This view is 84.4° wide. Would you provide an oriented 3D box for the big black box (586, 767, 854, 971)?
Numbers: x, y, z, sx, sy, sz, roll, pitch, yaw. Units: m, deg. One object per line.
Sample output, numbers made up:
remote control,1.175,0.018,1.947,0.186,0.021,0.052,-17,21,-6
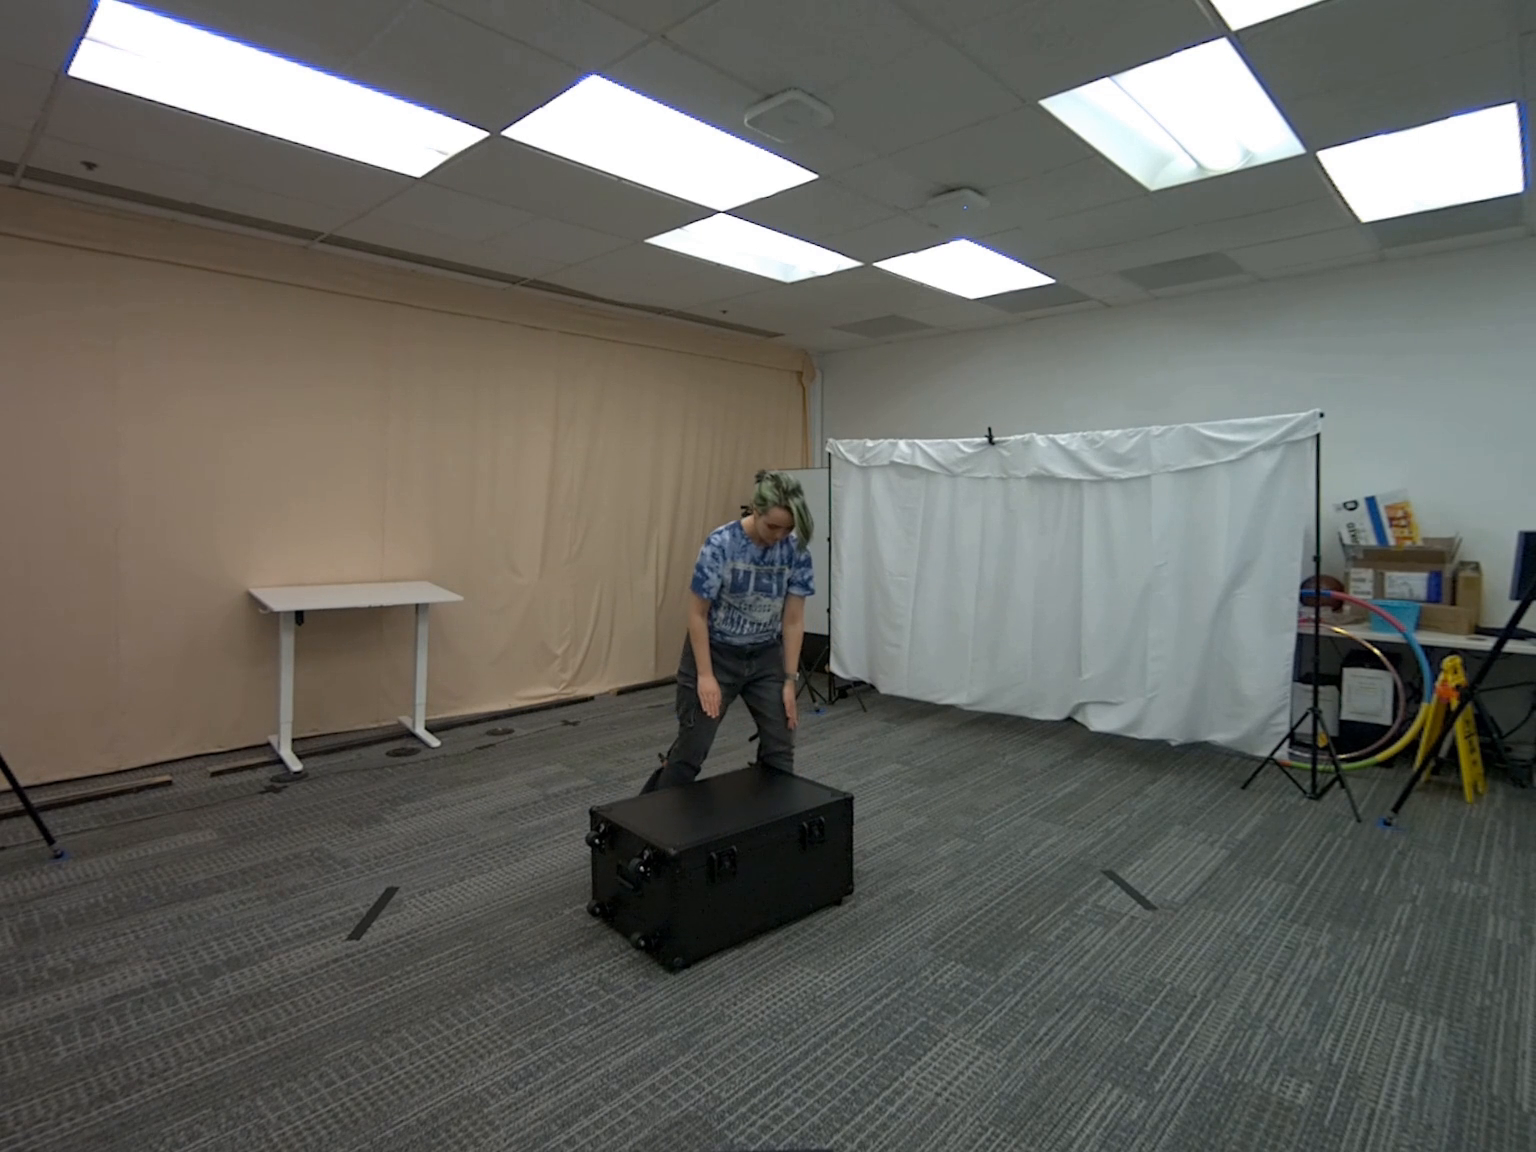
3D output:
big black box,-0.171,0.966,2.881,0.835,0.395,0.538,-3,5,-39
